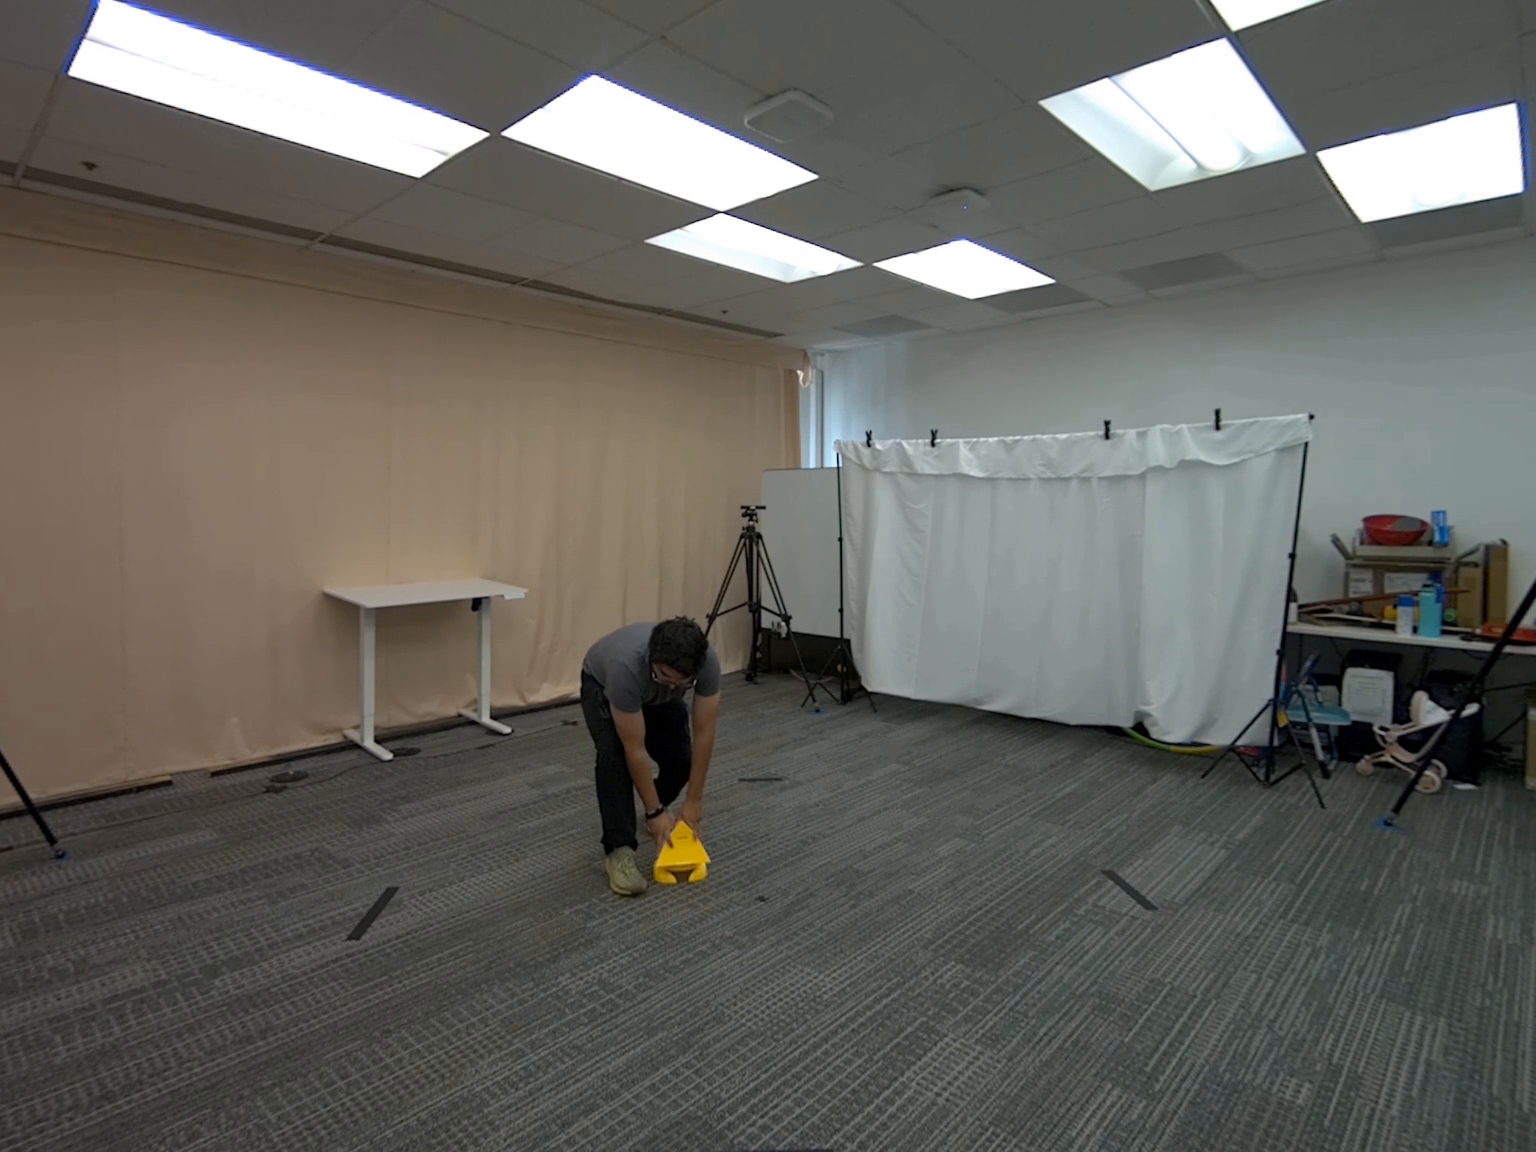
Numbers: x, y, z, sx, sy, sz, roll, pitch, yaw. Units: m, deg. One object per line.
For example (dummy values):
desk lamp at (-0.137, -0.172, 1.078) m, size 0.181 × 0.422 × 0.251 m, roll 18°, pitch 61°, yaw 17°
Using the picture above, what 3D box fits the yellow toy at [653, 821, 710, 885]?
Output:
yellow toy at (-0.334, 1.020, 3.172) m, size 0.202 × 0.230 × 0.196 m, roll -2°, pitch 4°, yaw -13°
